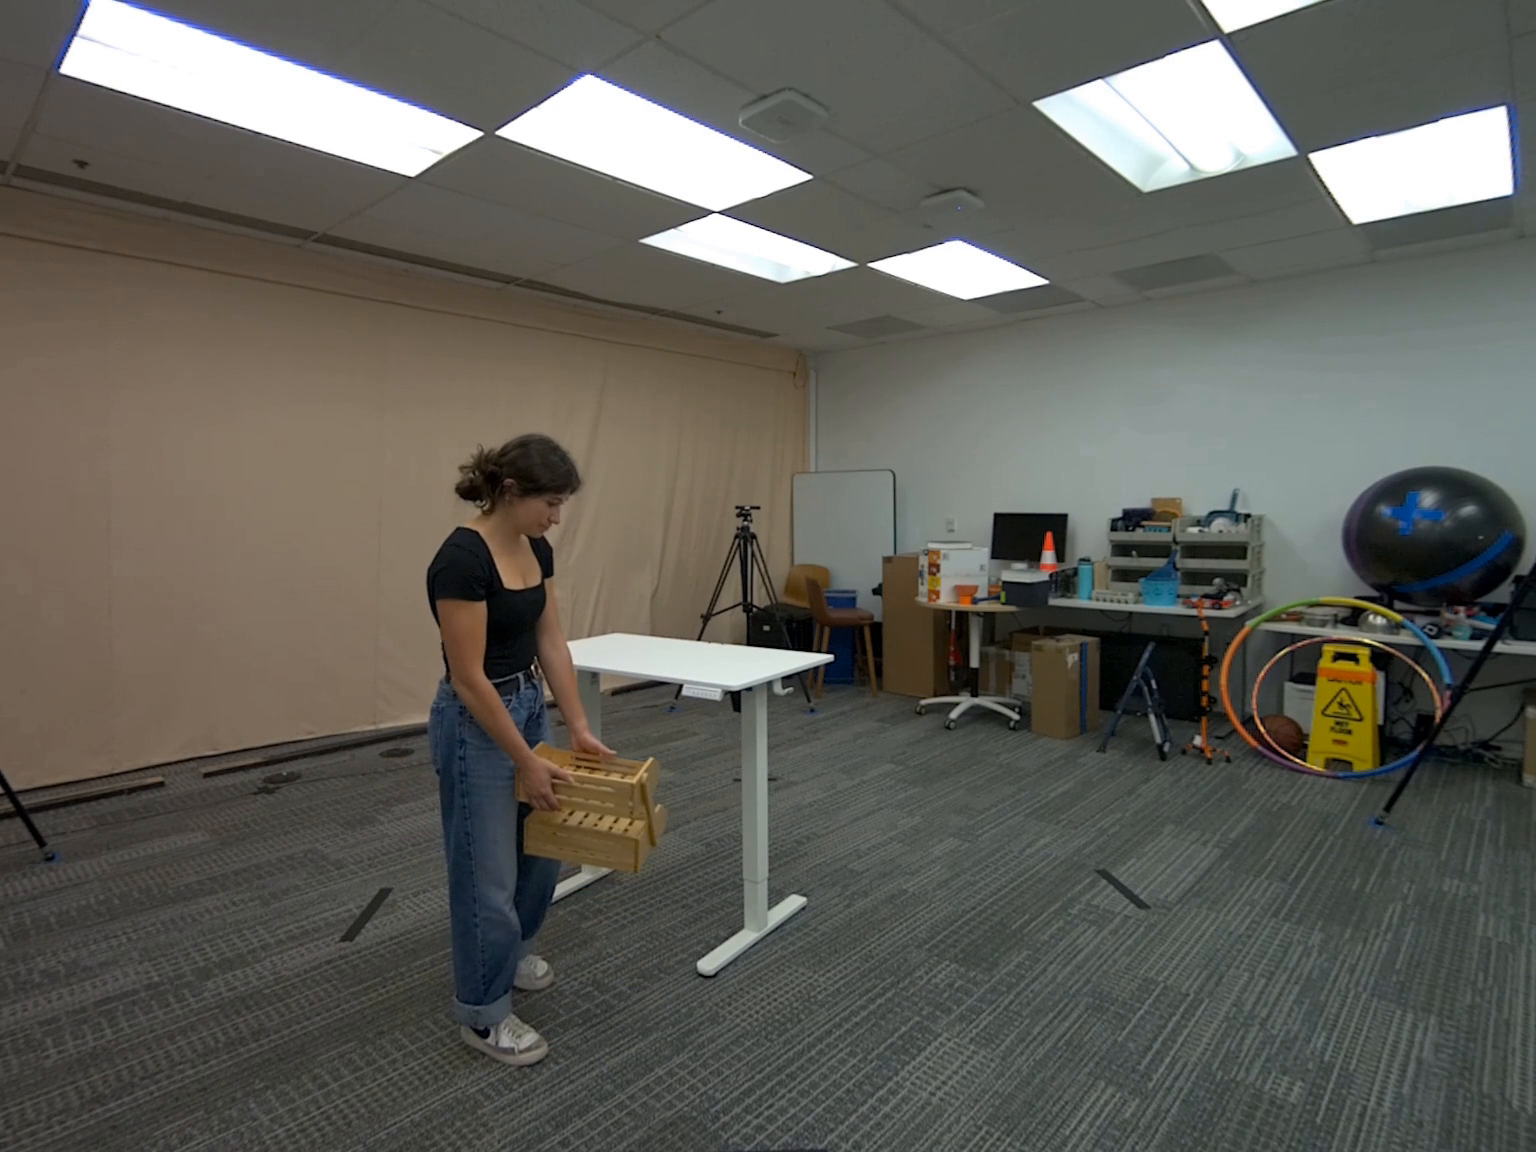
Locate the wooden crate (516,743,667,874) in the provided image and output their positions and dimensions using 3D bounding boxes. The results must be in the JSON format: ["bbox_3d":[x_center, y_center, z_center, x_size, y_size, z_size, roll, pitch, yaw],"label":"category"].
[{"bbox_3d":[-0.434,0.567,2.130,0.328,0.271,0.300,4,12,10],"label":"wooden crate"}]
